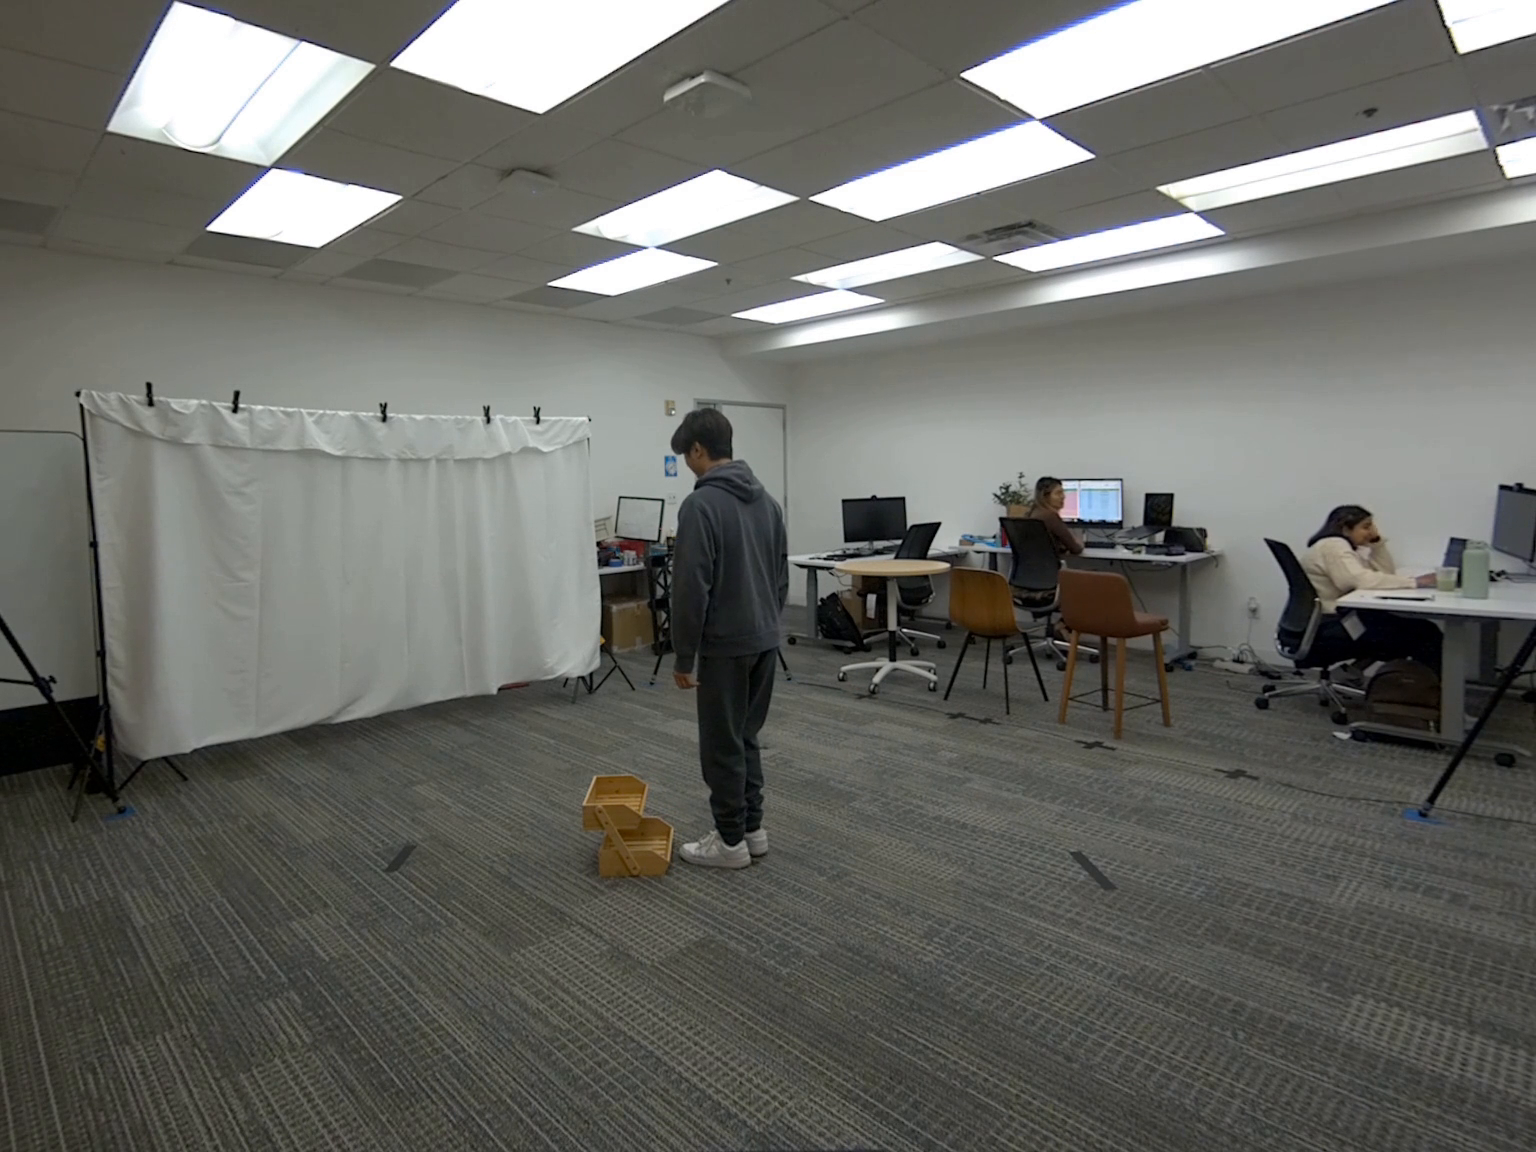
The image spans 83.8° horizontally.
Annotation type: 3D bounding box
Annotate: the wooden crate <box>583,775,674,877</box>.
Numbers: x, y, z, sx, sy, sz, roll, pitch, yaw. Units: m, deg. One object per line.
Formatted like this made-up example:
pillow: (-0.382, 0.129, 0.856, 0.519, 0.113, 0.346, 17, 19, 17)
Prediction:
wooden crate: (-0.497, 0.909, 3.160, 0.301, 0.272, 0.326, -2, 5, -3)
